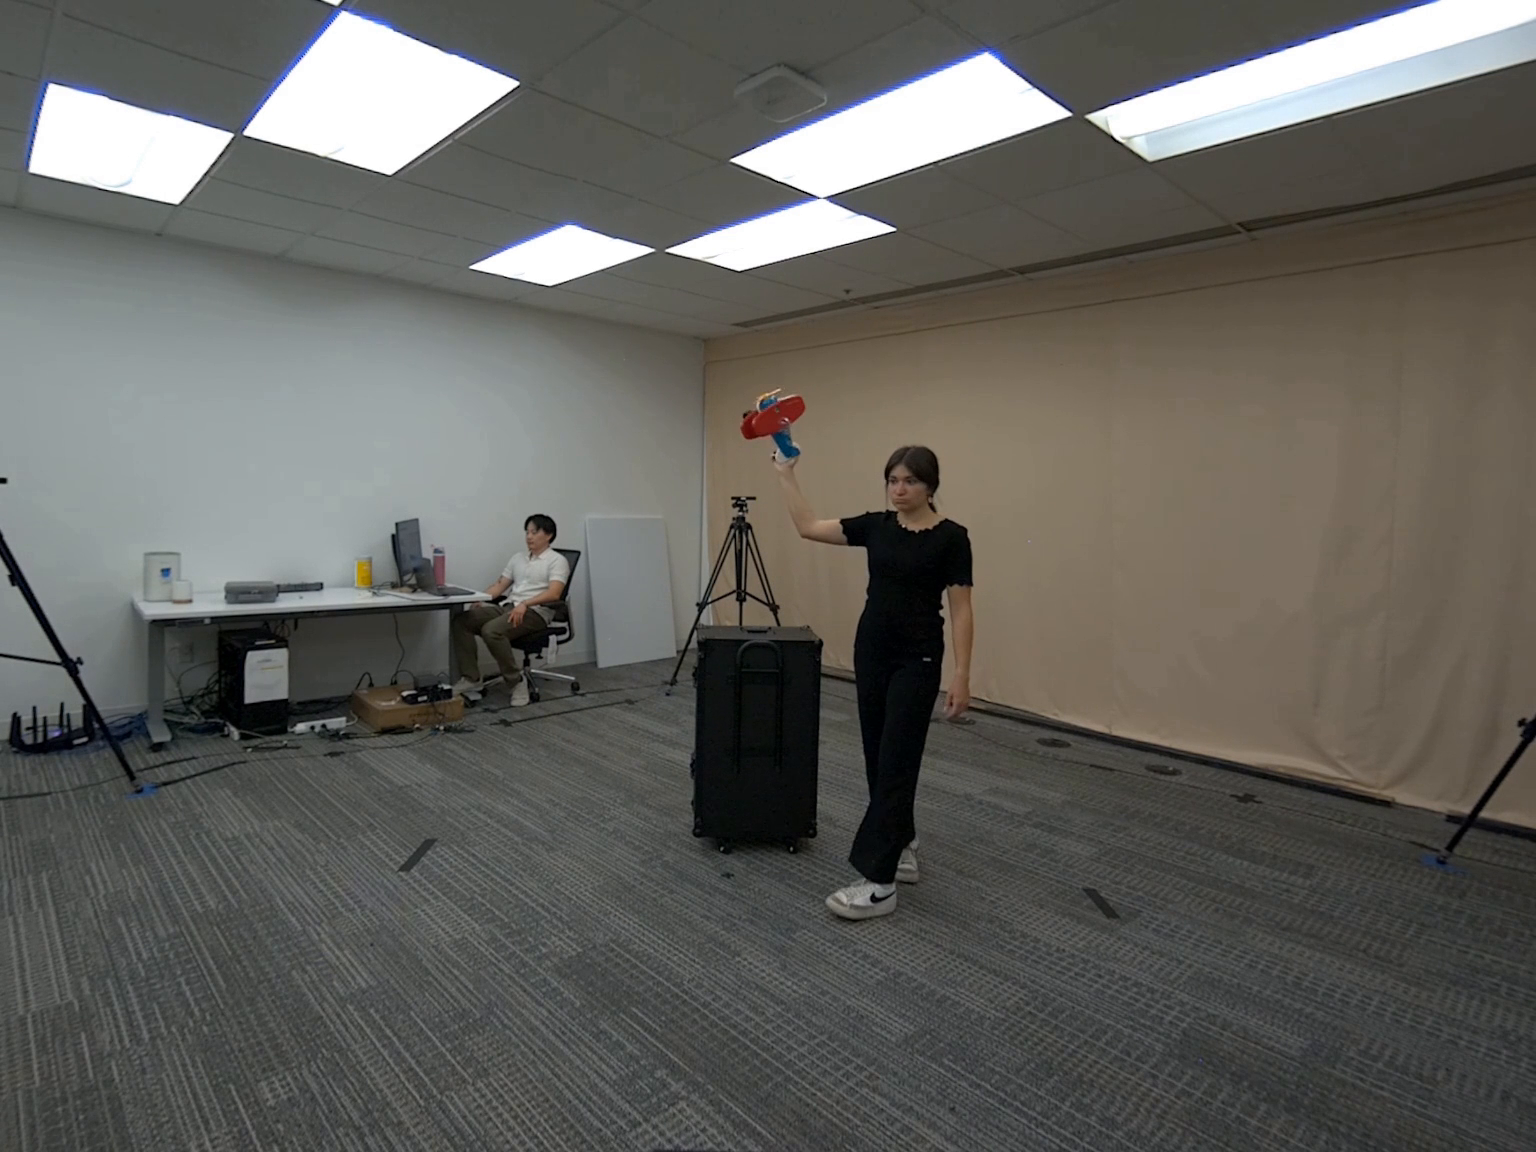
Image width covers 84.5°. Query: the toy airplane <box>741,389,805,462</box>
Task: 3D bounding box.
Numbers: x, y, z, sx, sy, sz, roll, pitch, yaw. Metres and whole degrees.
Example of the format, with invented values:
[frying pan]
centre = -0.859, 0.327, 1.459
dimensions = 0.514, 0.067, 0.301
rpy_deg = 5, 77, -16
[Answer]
[toy airplane]
centre = 0.029, -0.566, 3.164
dimensions = 0.254, 0.253, 0.158
rpy_deg = 32, -24, -18
